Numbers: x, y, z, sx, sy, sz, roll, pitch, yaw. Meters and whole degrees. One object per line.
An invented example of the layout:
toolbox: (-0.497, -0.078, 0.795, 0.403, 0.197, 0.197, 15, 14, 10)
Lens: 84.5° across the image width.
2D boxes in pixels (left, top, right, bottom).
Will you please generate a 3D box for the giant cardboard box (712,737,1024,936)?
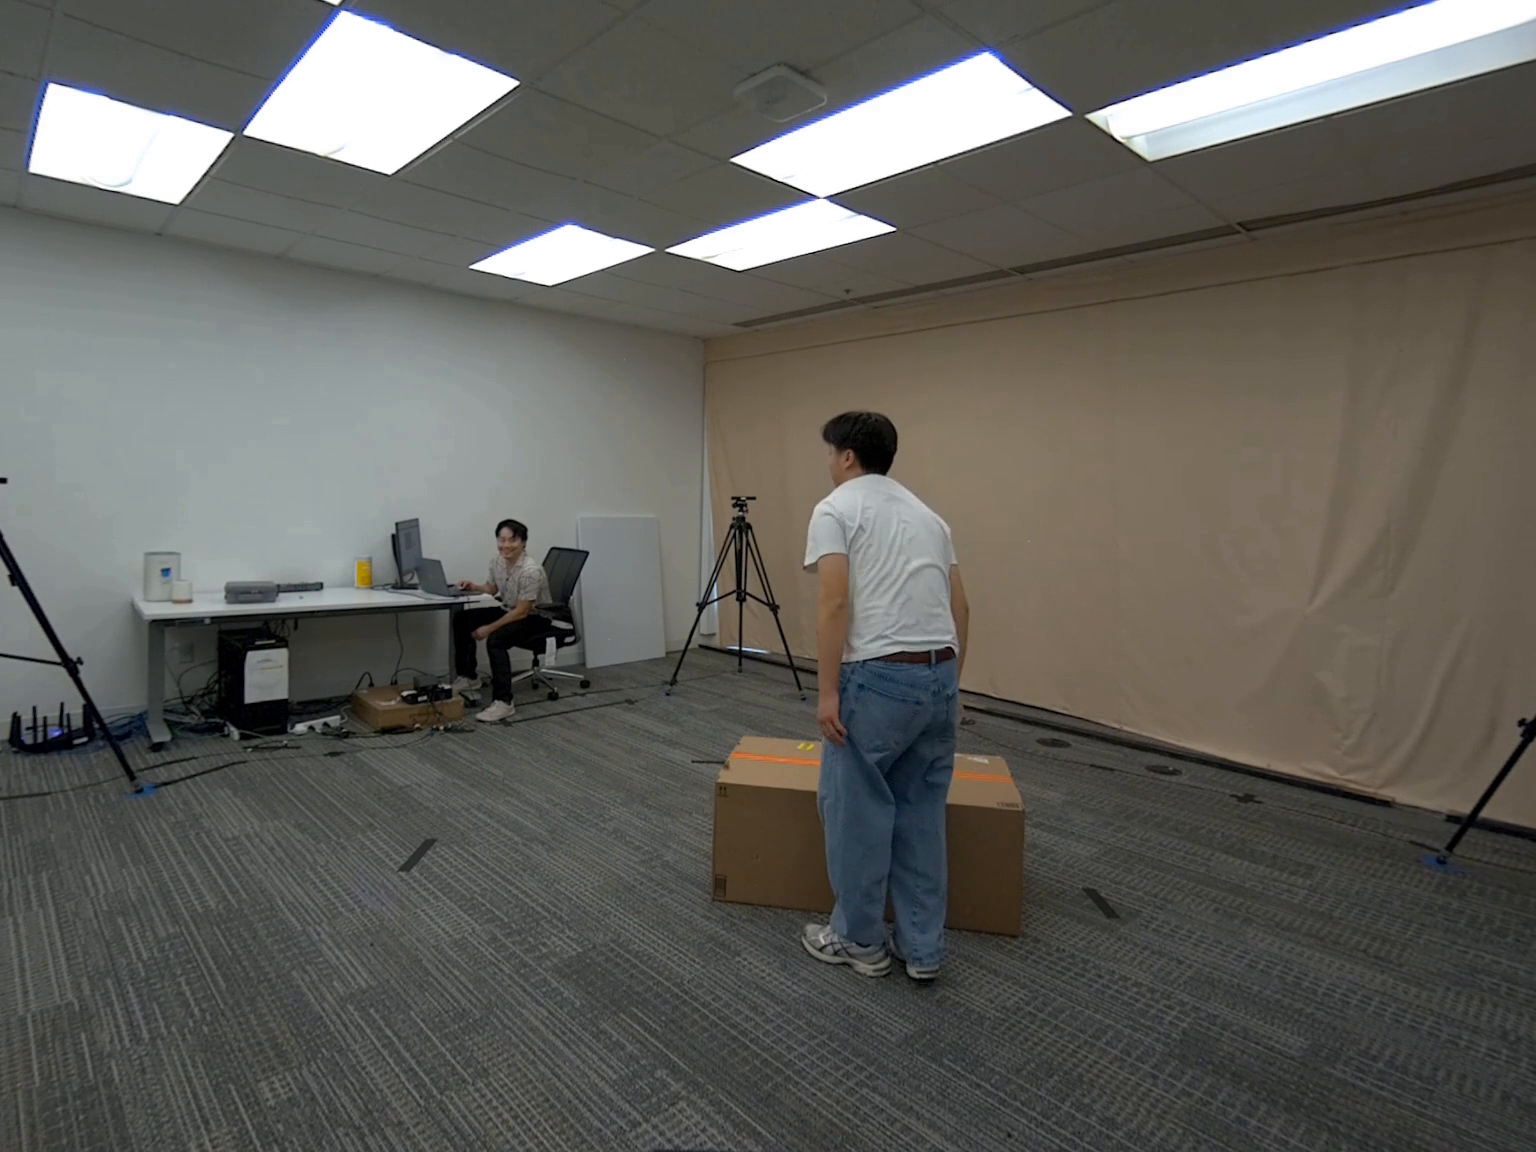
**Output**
giant cardboard box: (0.355, 0.904, 3.072, 1.035, 0.425, 0.574, 2, 4, 10)
